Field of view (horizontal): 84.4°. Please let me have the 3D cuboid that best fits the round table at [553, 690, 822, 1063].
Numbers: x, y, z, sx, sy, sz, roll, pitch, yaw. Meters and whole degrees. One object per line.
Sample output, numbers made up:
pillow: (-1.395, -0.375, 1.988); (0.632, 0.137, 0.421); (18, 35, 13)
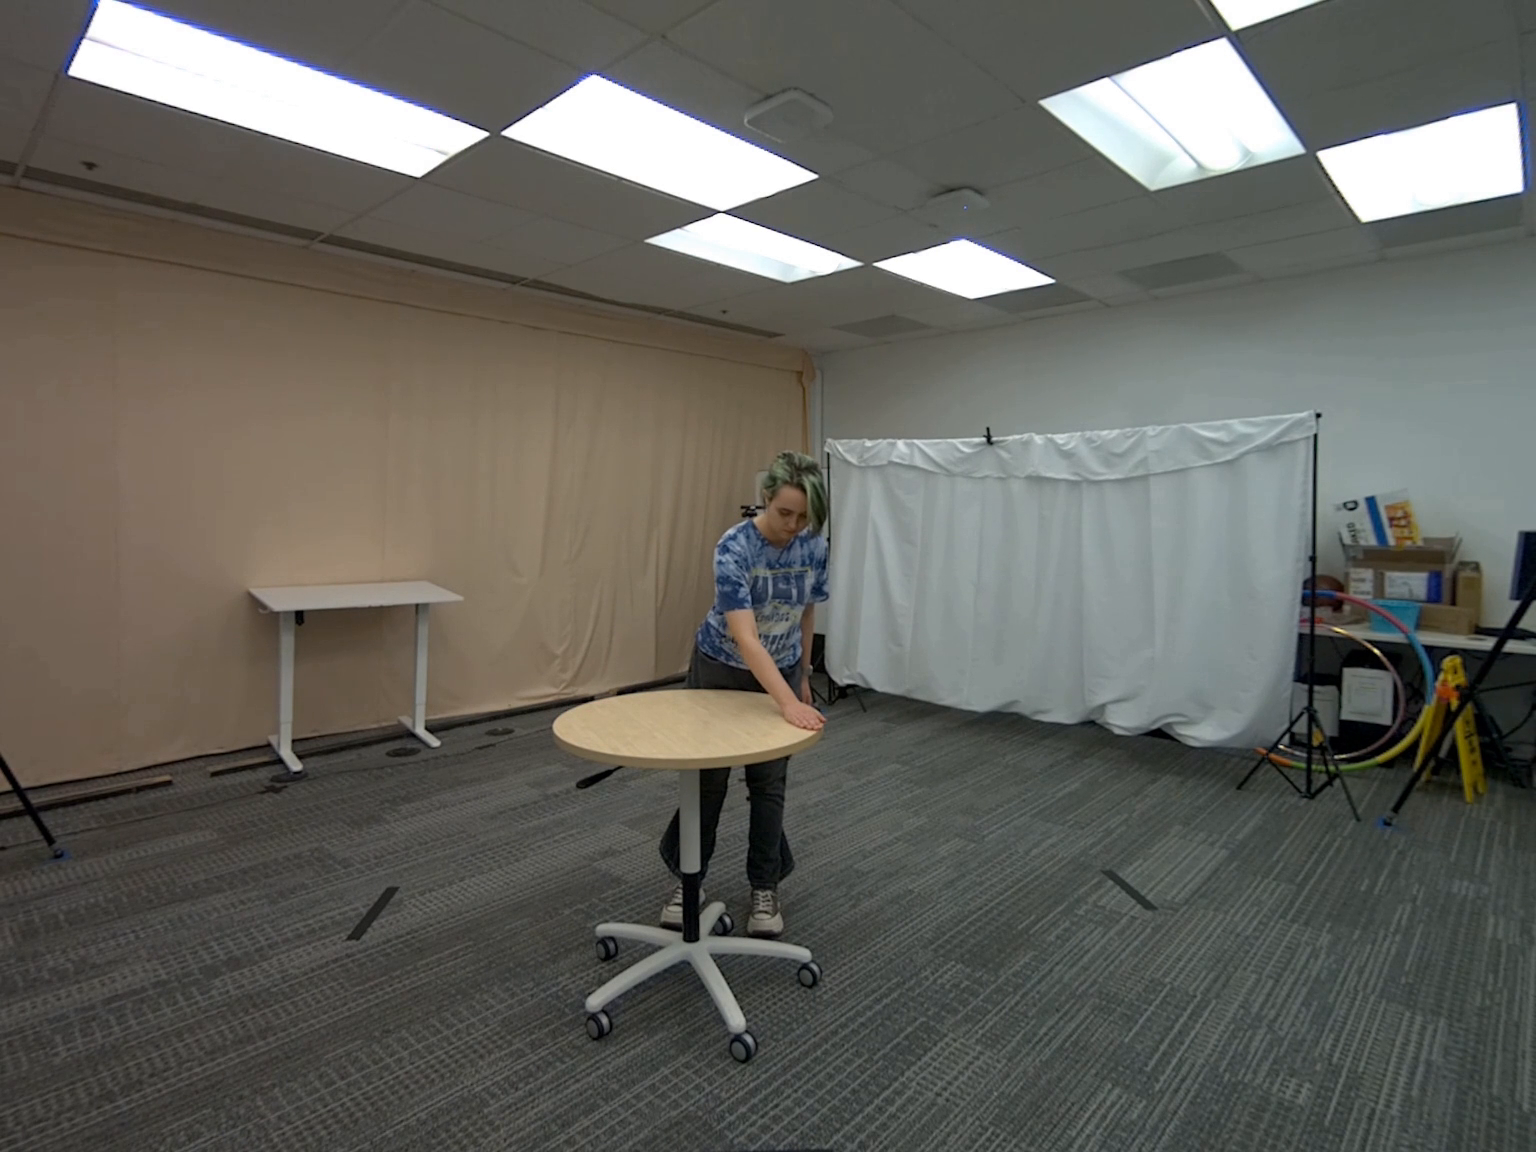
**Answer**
round table: (-0.231, 0.796, 2.434); (0.784, 0.785, 0.788); (0, 4, -2)
